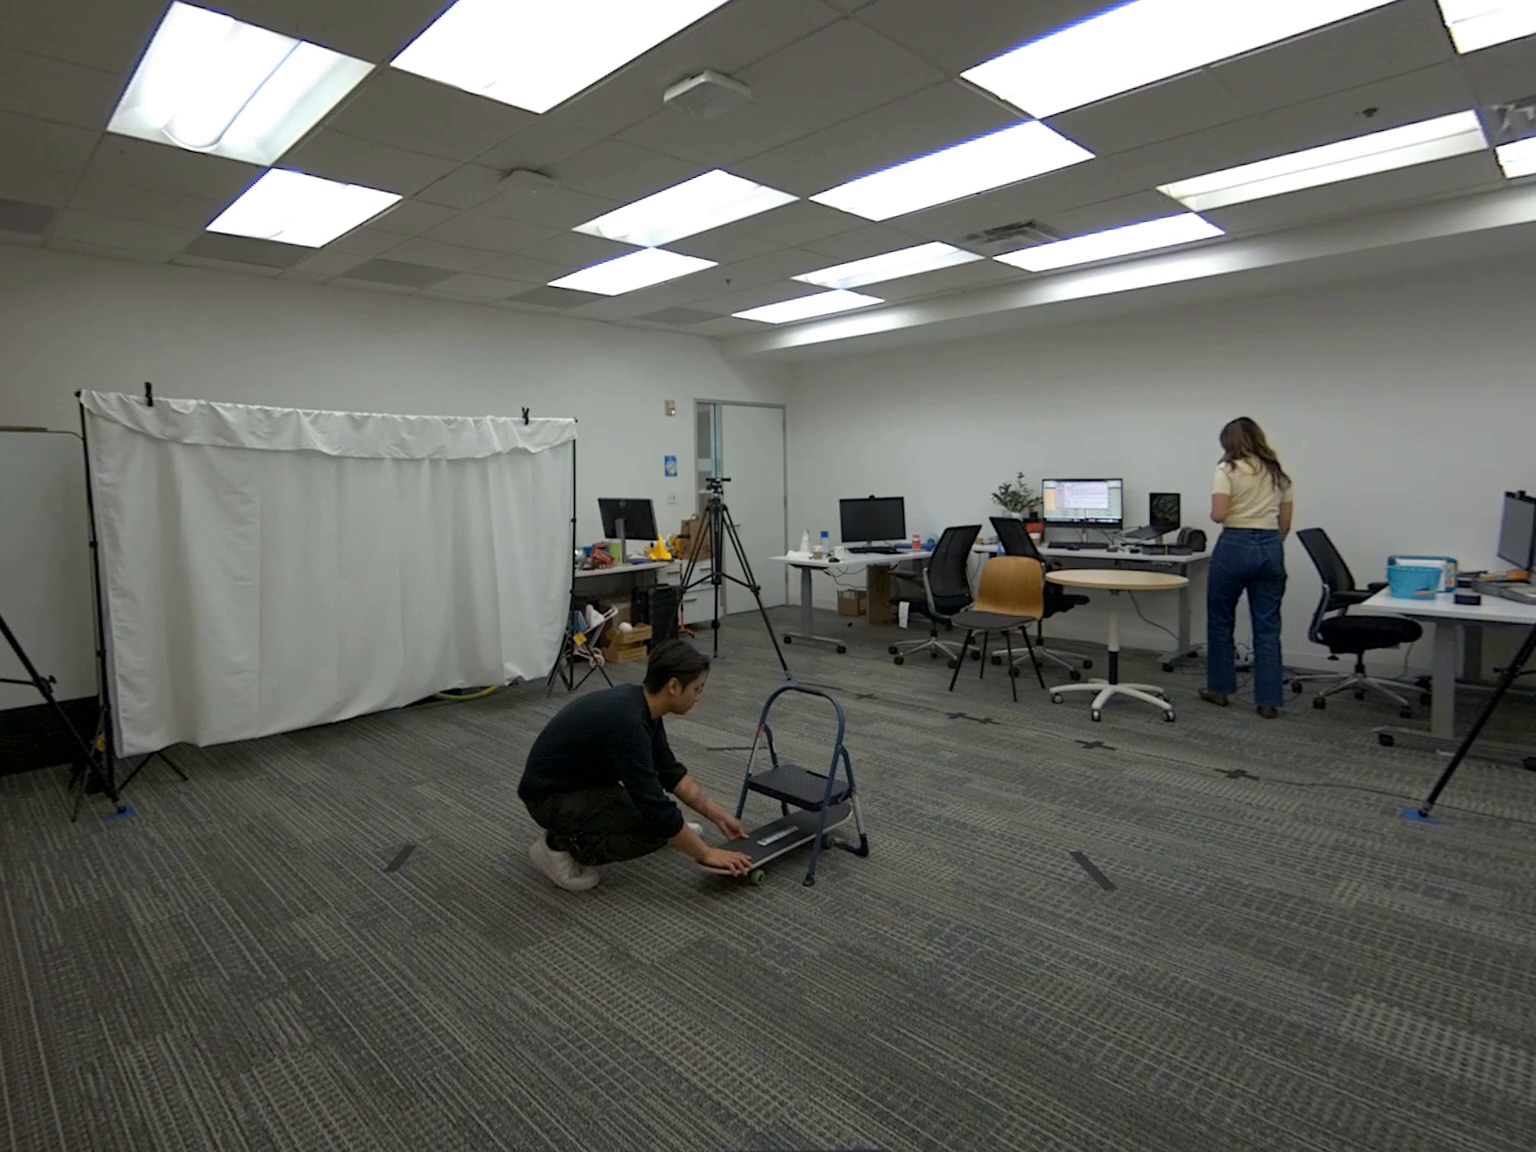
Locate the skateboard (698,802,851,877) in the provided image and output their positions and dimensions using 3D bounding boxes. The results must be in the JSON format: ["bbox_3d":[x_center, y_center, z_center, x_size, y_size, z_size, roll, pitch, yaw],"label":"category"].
[{"bbox_3d":[0.026,0.969,3.133,0.199,0.110,0.765,4,7,43],"label":"skateboard"}]
